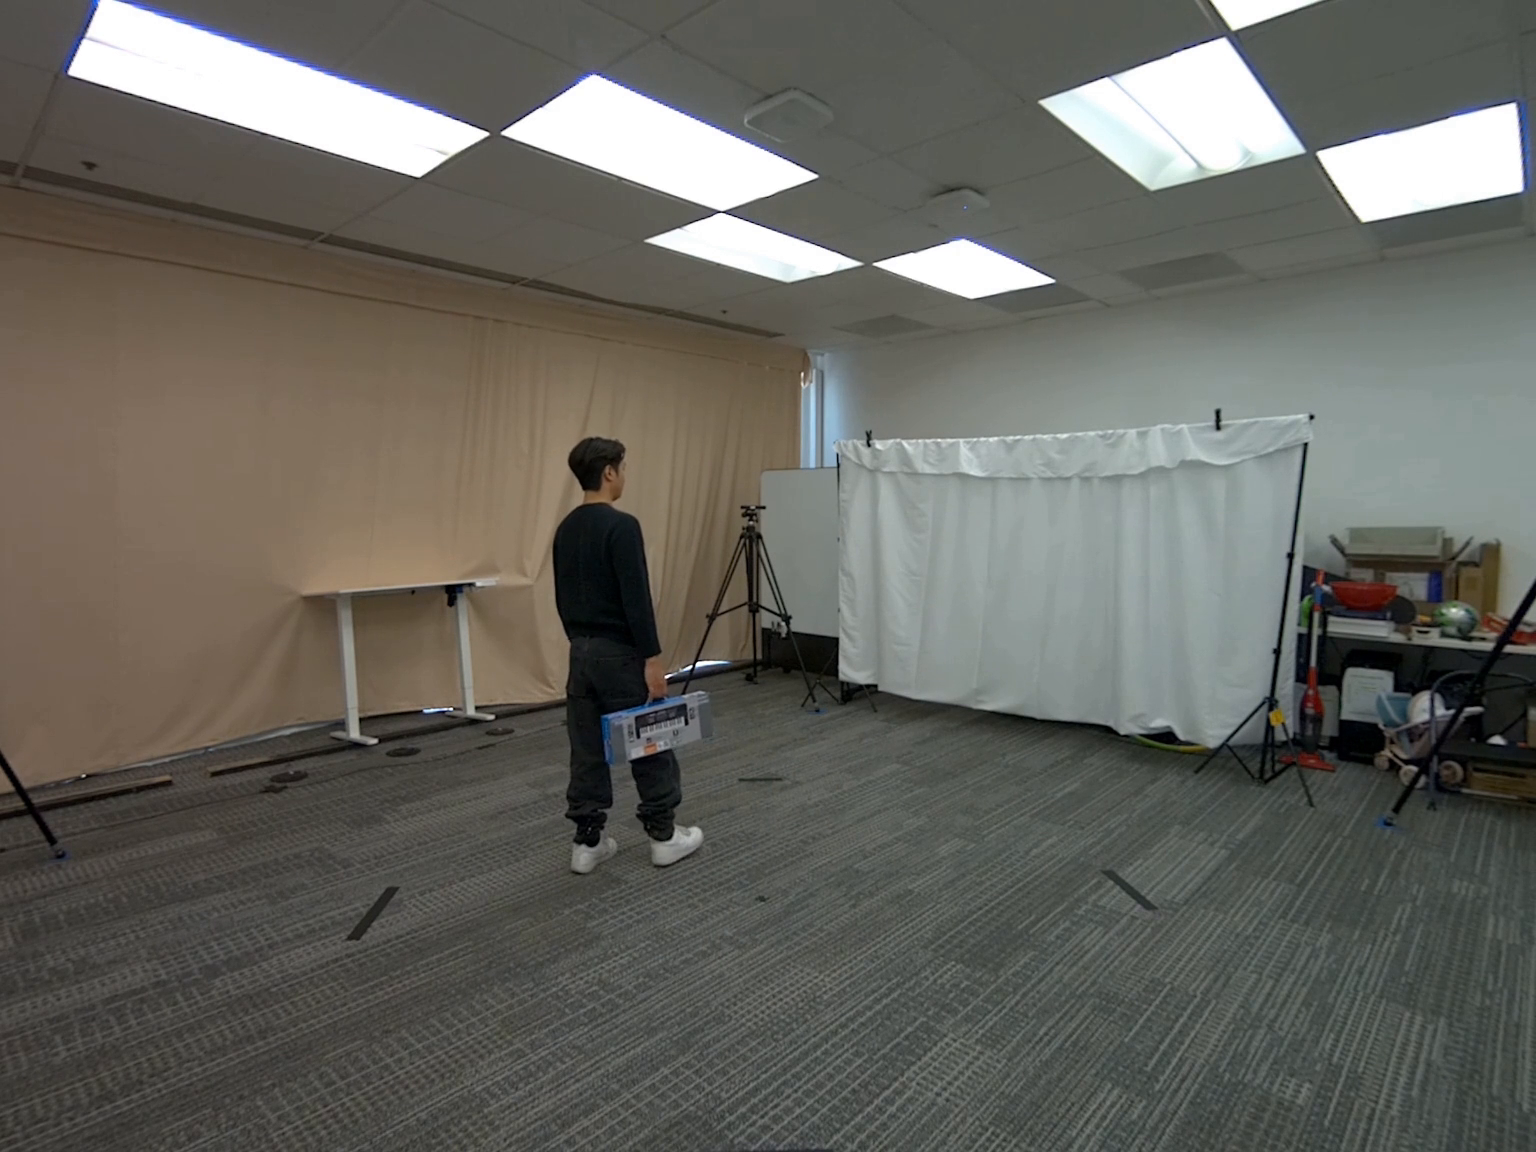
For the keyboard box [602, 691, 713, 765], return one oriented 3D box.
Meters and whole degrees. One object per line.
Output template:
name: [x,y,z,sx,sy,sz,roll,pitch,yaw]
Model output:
keyboard box: [-0.403,0.561,3.133,0.425,0.175,0.061,-9,6,-34]
